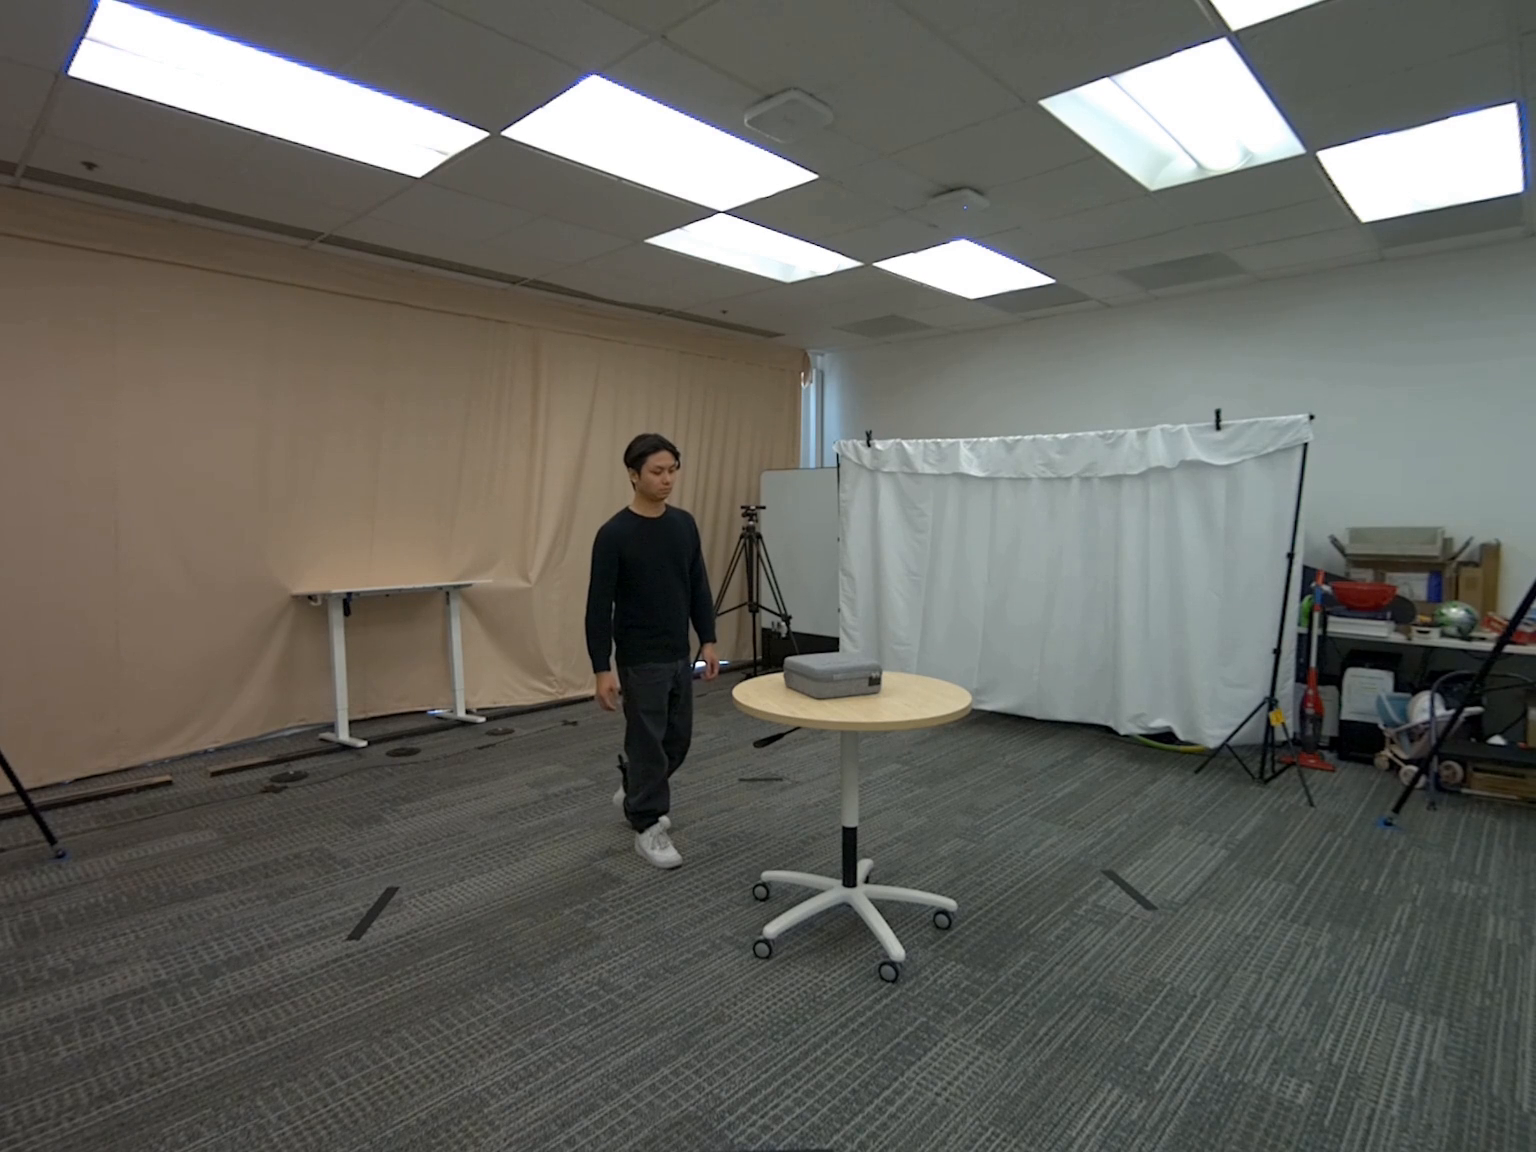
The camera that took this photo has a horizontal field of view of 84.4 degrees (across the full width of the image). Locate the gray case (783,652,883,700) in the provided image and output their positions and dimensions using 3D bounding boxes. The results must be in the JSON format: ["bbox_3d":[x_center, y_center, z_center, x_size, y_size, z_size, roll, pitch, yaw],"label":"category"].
[{"bbox_3d":[0.210,0.322,2.782,0.251,0.104,0.267,-4,5,-24],"label":"gray case"}]
